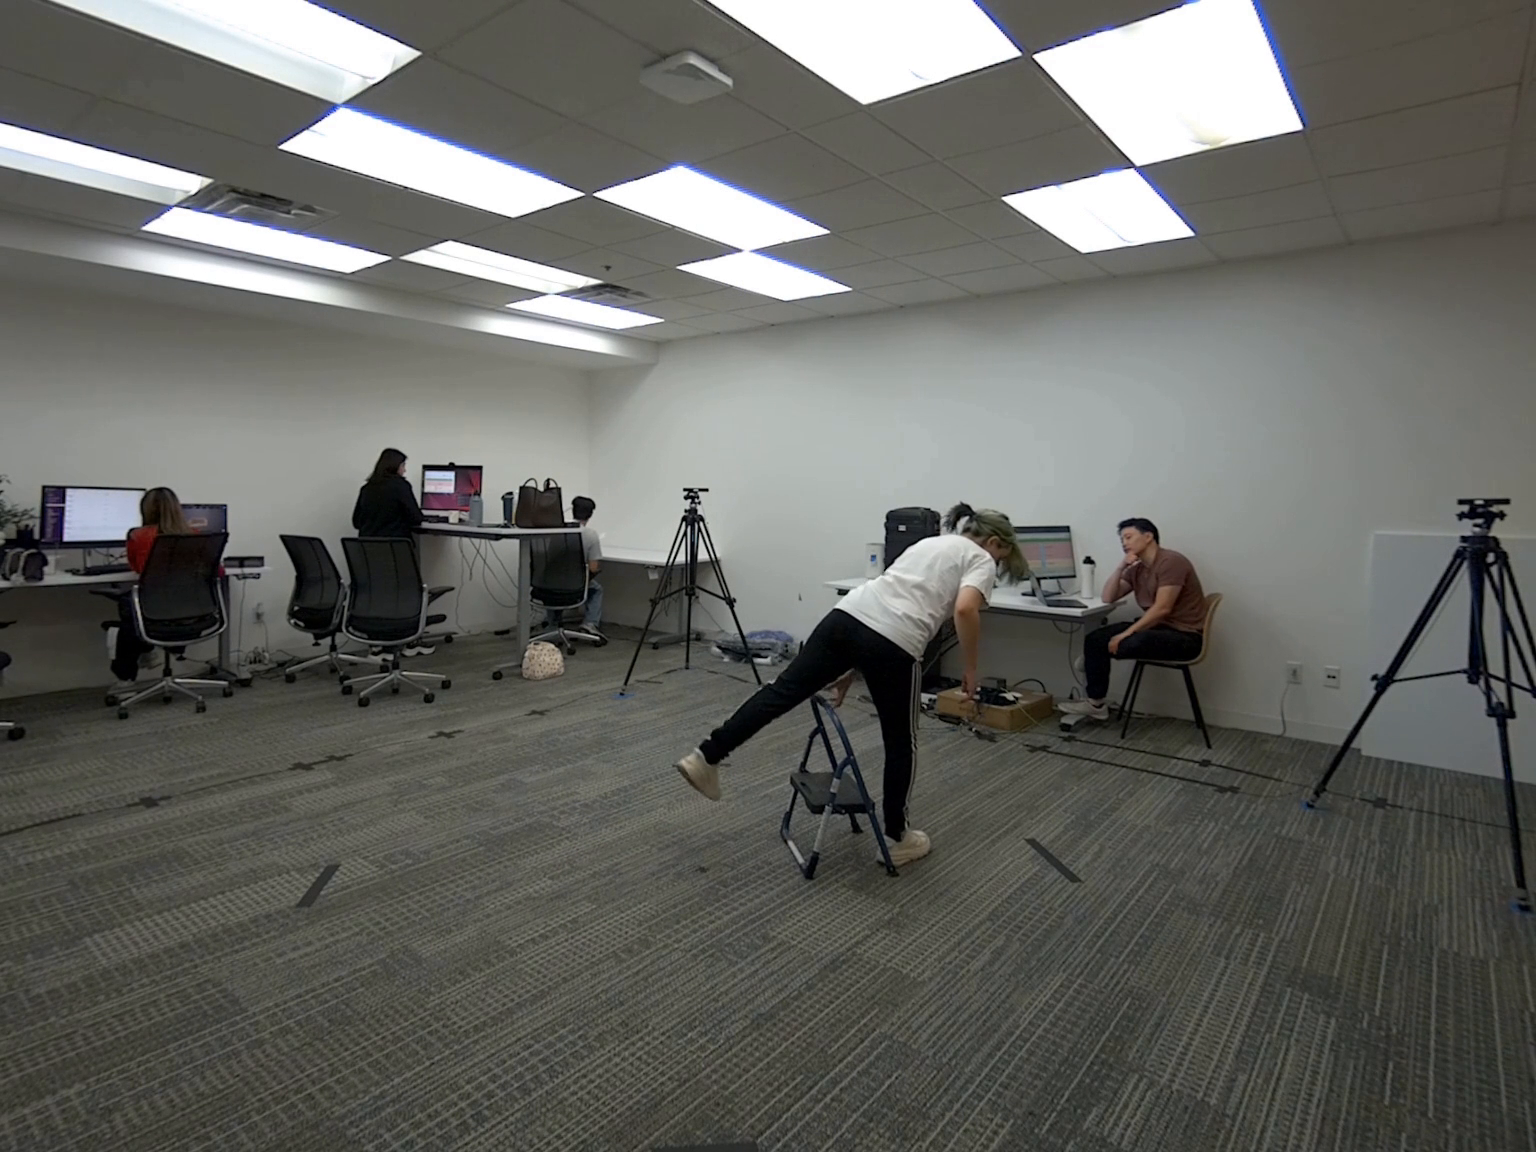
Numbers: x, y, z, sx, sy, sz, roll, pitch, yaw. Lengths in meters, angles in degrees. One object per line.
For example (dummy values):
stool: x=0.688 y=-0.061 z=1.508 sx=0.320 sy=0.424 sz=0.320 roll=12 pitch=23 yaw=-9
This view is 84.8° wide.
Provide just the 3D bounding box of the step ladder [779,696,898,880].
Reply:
step ladder: x=0.259 y=0.765 z=3.253 sx=0.345 sy=0.604 sz=0.437 roll=1 pitch=4 yaw=-12
